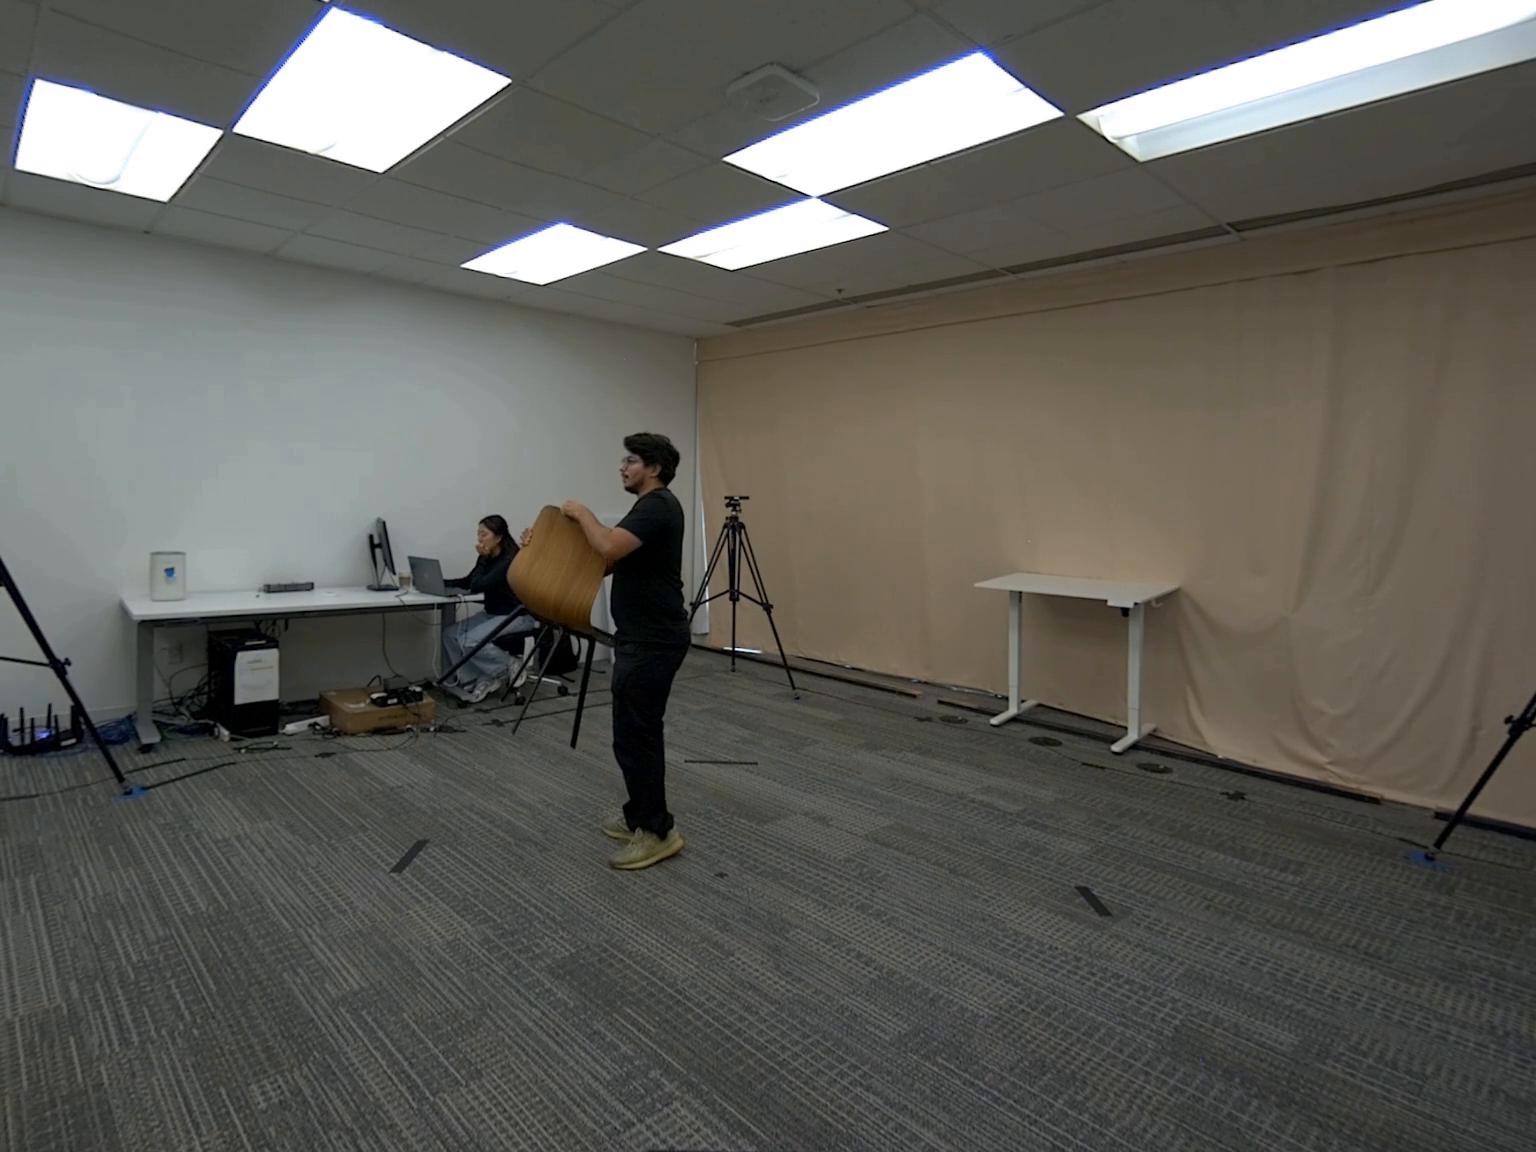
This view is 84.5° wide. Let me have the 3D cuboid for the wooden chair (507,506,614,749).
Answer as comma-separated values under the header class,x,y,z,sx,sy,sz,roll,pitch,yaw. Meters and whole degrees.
class,x,y,z,sx,sy,sz,roll,pitch,yaw
wooden chair,-0.874,0.199,3.489,0.490,0.879,0.510,23,-5,25
